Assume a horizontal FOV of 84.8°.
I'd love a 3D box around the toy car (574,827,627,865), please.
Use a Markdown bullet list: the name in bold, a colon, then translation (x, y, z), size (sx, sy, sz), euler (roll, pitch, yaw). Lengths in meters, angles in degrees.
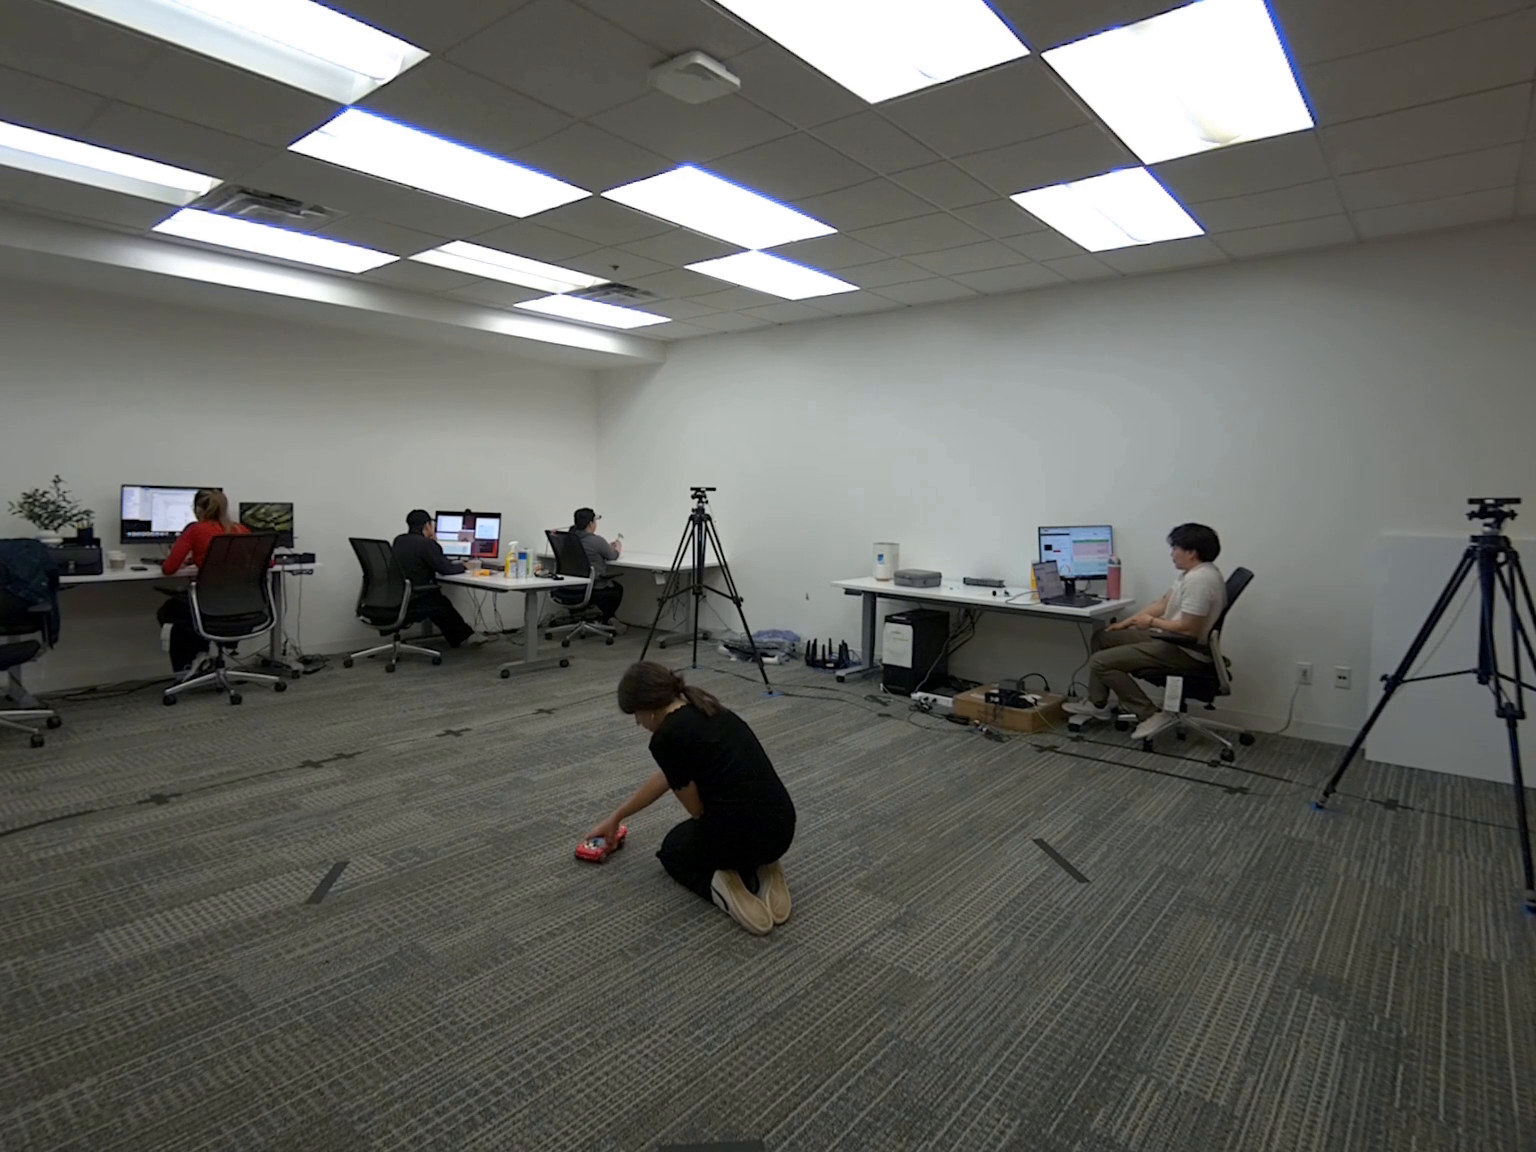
- **toy car**: translation (-0.633, 1.016, 3.242), size (0.133, 0.082, 0.252), euler (2, 16, 20)
